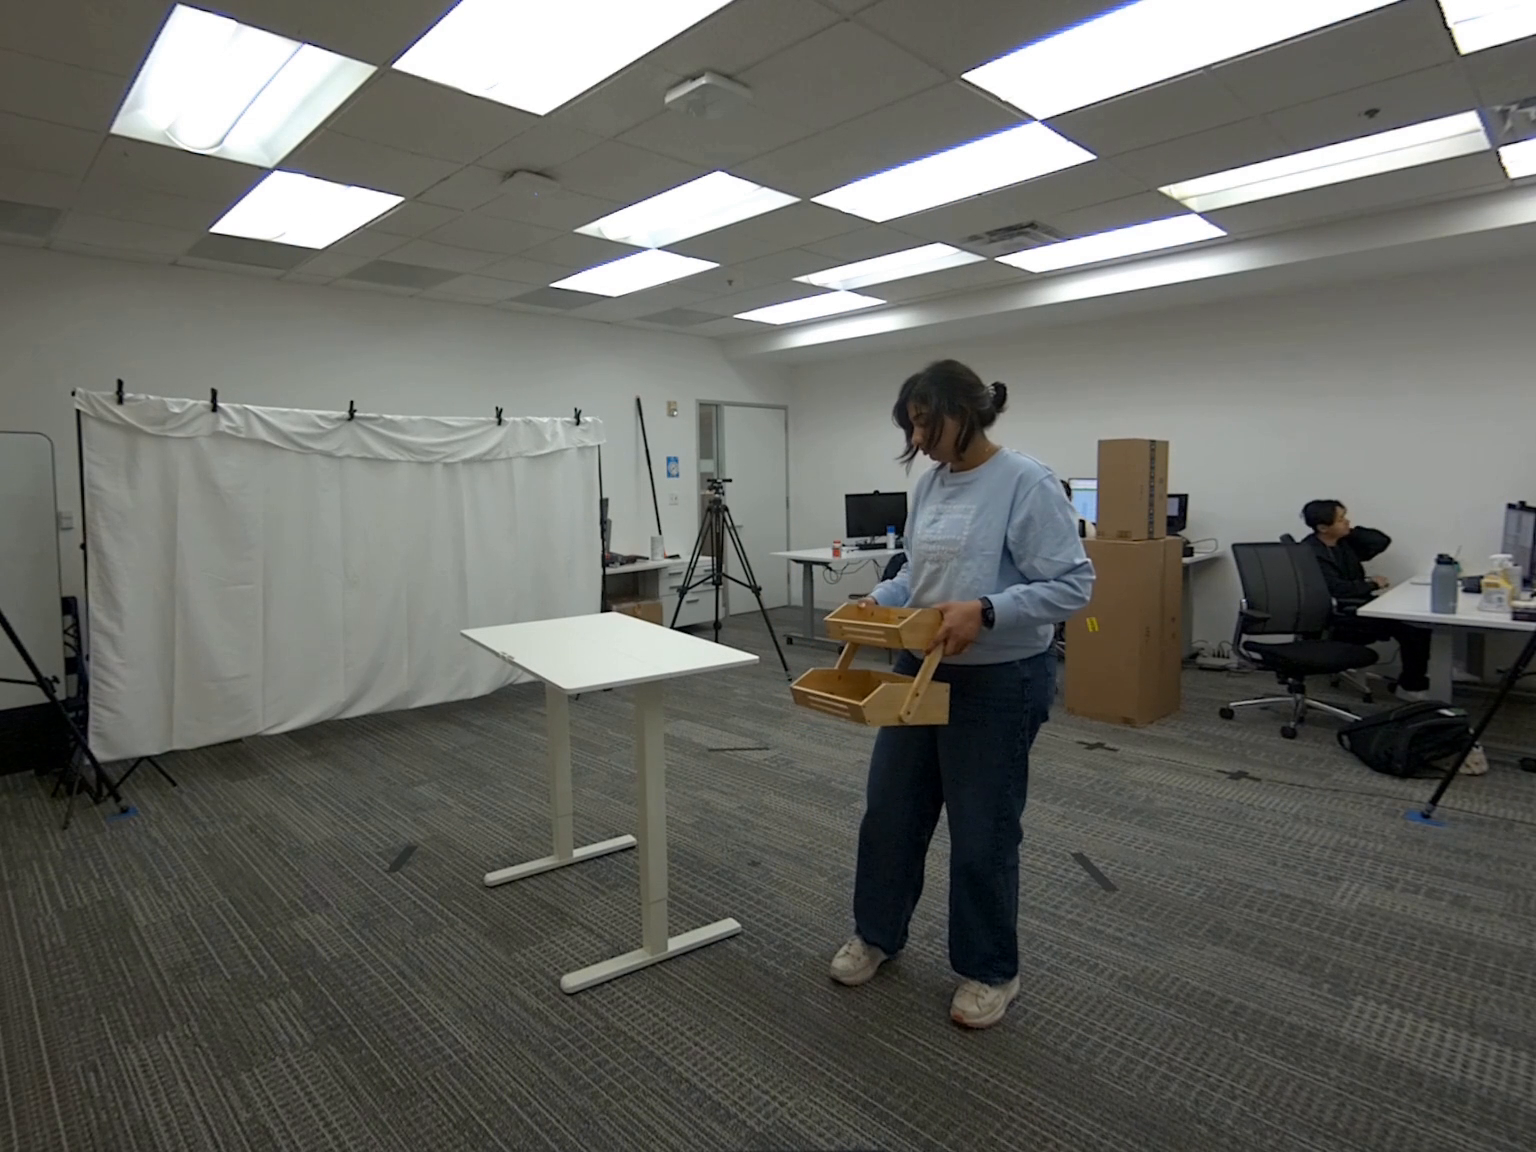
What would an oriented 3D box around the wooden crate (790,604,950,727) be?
[{"bbox_3d":[0.271,0.198,2.063,0.294,0.274,0.332,4,-3,-30],"label":"wooden crate"}]
